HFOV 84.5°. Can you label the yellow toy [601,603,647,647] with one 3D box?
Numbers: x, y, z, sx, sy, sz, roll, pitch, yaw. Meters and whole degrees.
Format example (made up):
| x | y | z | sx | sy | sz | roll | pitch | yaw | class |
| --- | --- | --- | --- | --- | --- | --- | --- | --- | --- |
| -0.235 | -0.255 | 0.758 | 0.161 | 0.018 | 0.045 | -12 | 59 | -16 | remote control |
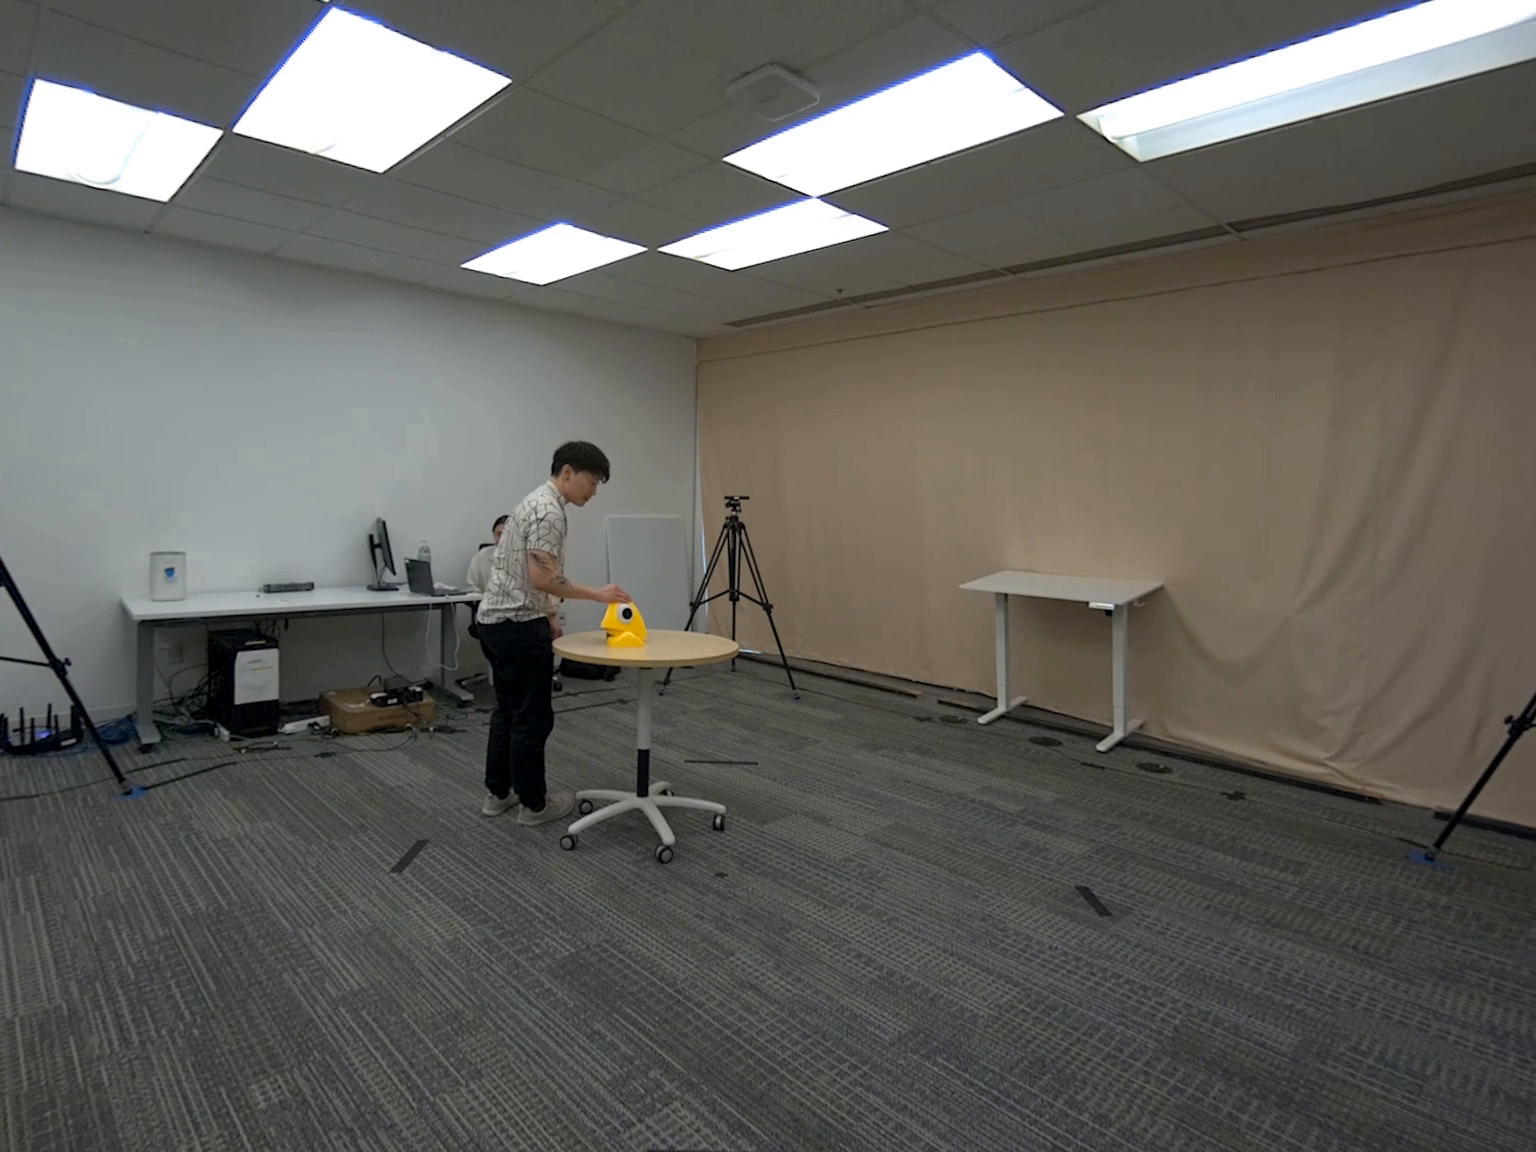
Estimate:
| x | y | z | sx | sy | sz | roll | pitch | yaw | class |
| --- | --- | --- | --- | --- | --- | --- | --- | --- | --- |
| -0.607 | 0.161 | 3.471 | 0.192 | 0.230 | 0.207 | 1 | 4 | -9 | yellow toy |
